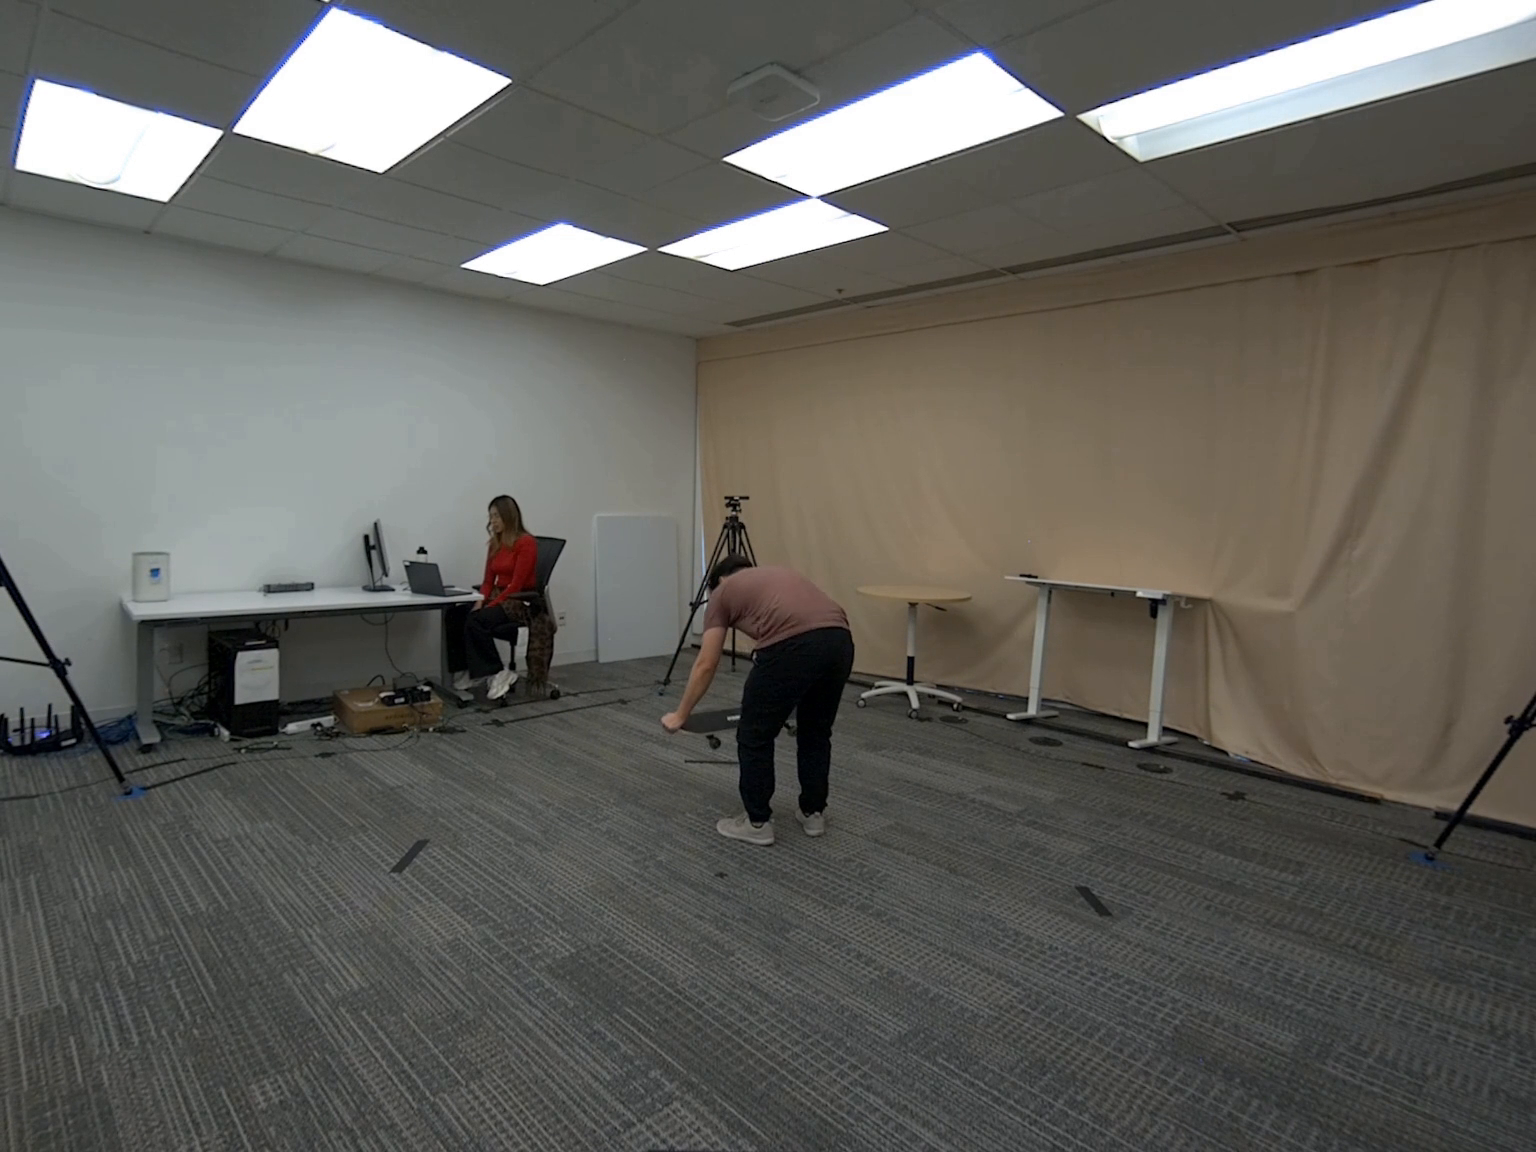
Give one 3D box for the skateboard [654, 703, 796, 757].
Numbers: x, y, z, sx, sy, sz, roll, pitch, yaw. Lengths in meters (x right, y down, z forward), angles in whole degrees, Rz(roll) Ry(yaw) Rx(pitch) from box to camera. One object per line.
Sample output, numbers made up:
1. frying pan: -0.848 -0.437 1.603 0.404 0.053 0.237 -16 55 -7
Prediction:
1. skateboard: -0.097 0.649 3.723 0.770 0.109 0.199 -2 15 -30
